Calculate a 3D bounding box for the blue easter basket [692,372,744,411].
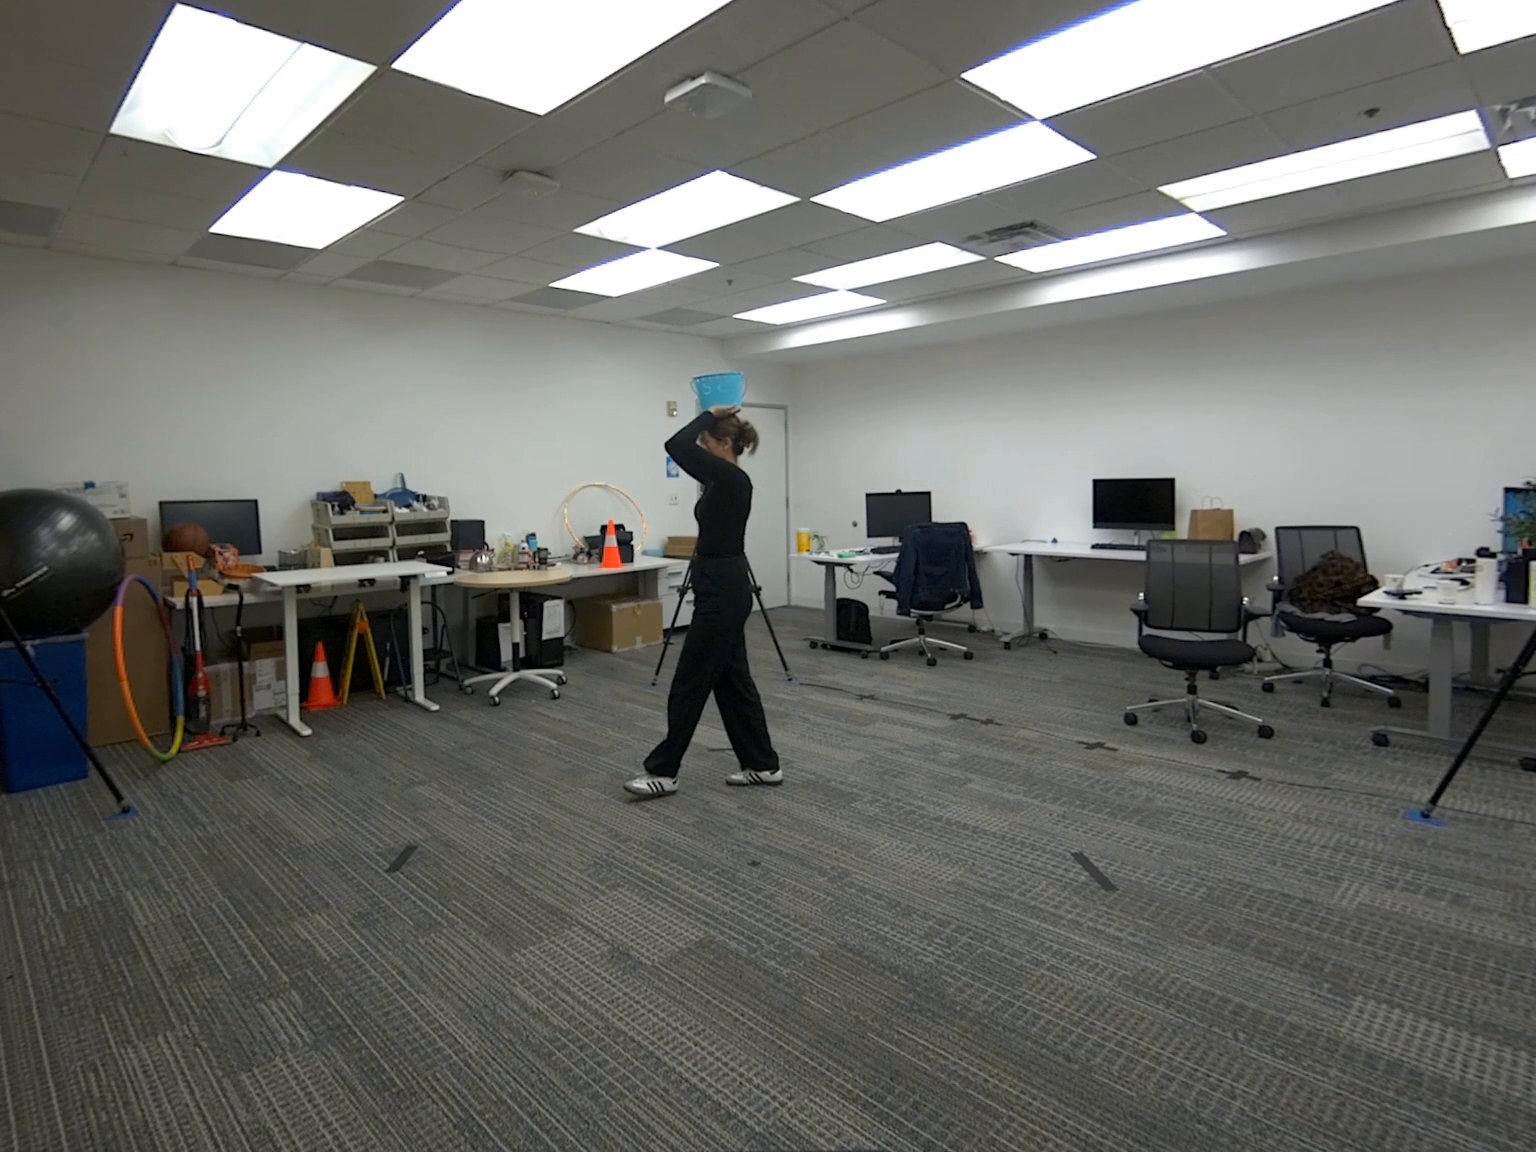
[{"bbox_3d":[-0.219,-0.817,3.809,0.243,0.155,0.245,-6,5,-1],"label":"blue easter basket"}]
